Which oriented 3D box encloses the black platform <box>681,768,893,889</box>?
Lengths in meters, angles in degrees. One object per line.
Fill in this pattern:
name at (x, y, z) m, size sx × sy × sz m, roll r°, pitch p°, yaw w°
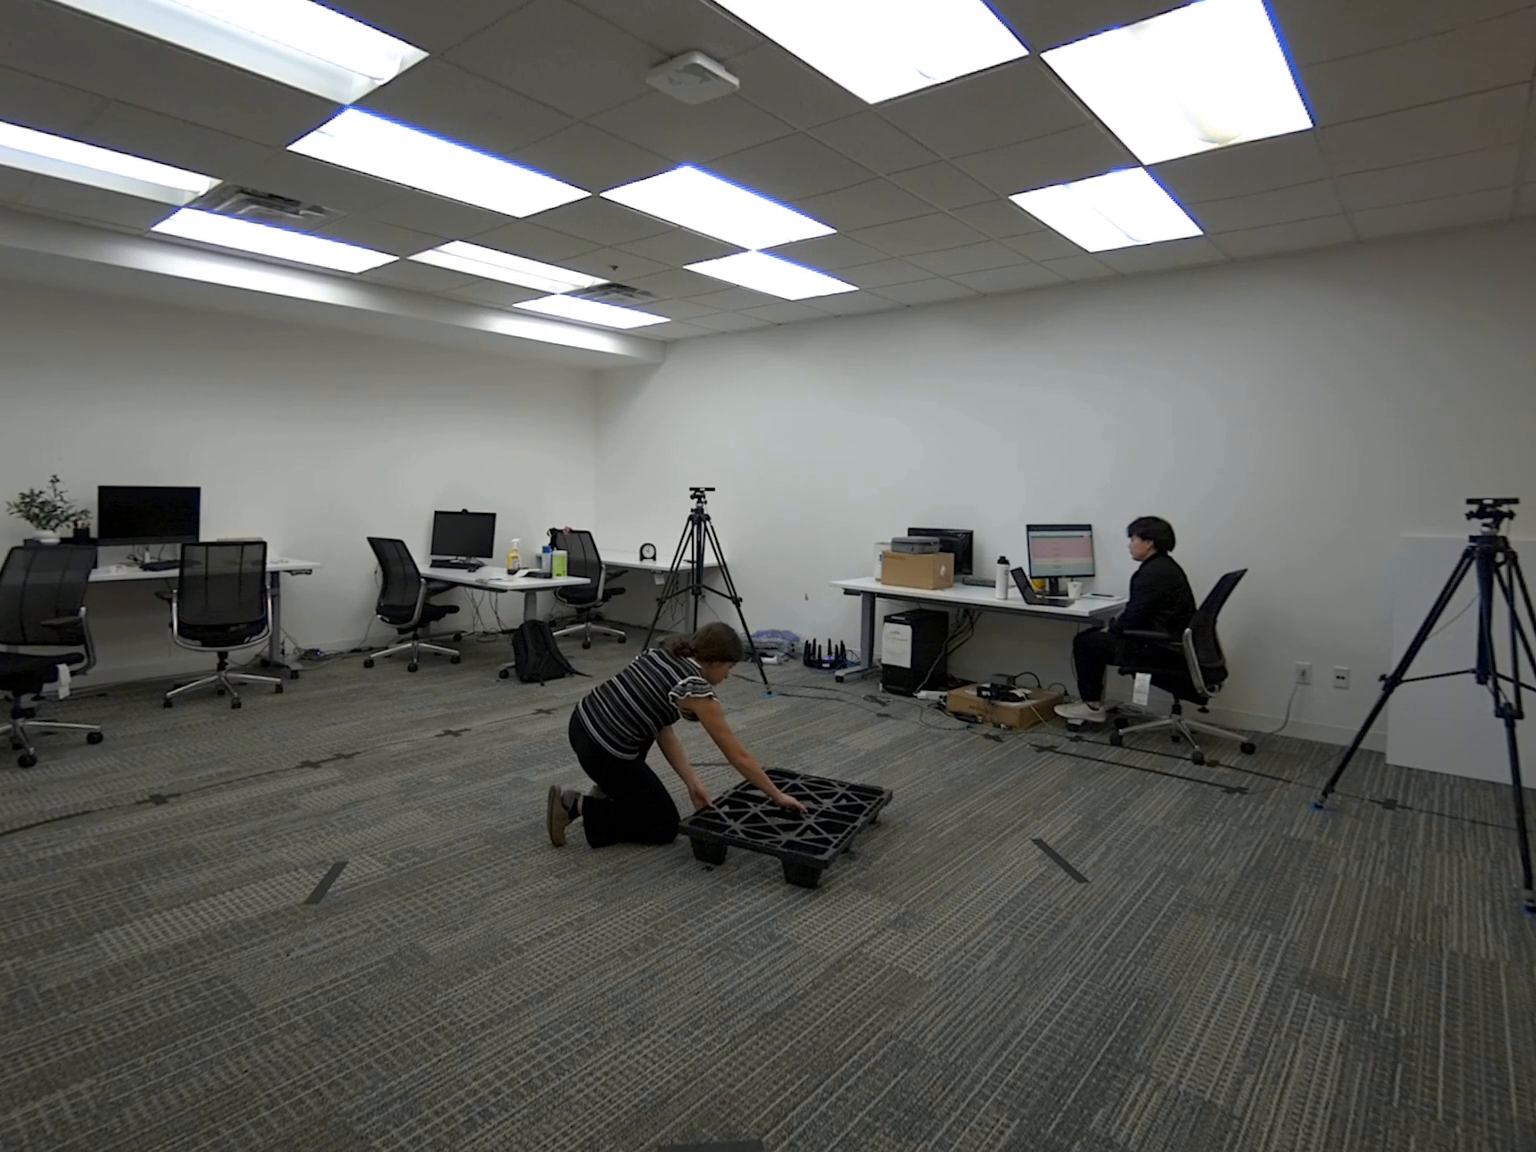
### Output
black platform at (0.085, 0.976, 3.387) m, size 0.622 × 0.143 × 0.787 m, roll 5°, pitch 7°, yaw 25°
